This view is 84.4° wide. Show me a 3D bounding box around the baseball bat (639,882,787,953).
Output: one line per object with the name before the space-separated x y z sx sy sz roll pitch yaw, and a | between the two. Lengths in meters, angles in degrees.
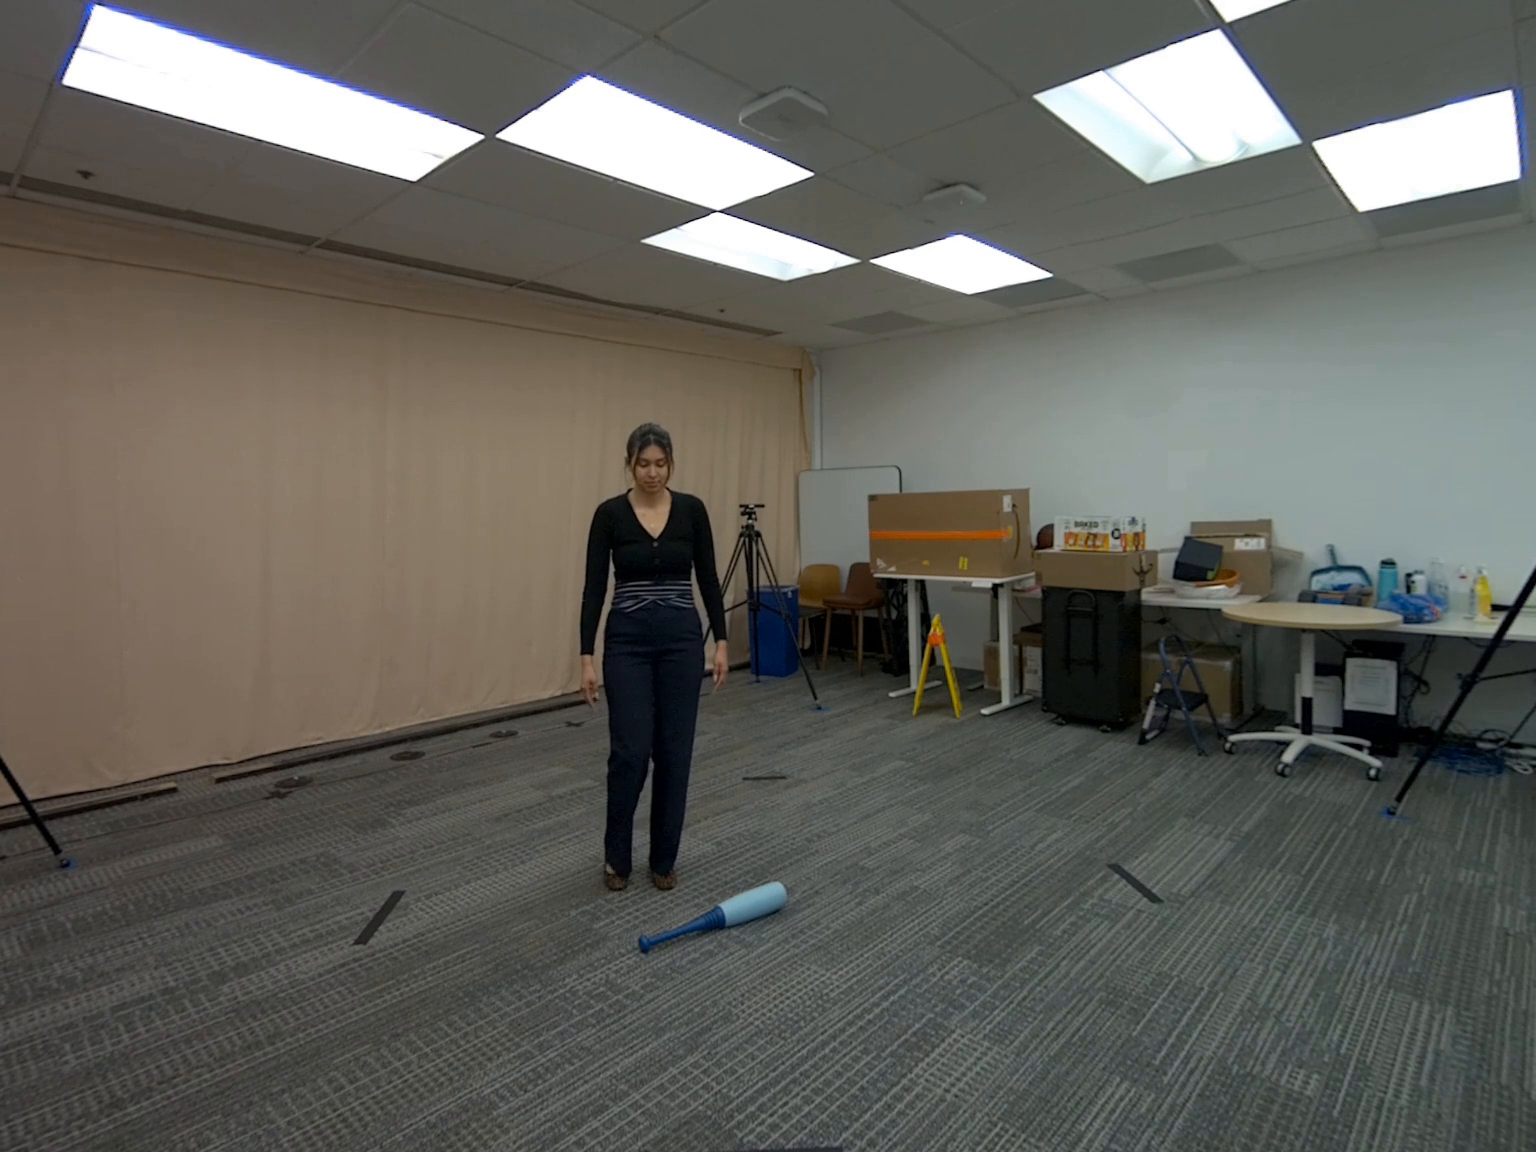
baseball bat | -0.167 1.126 2.763 0.529 0.089 0.091 -7 7 -30
